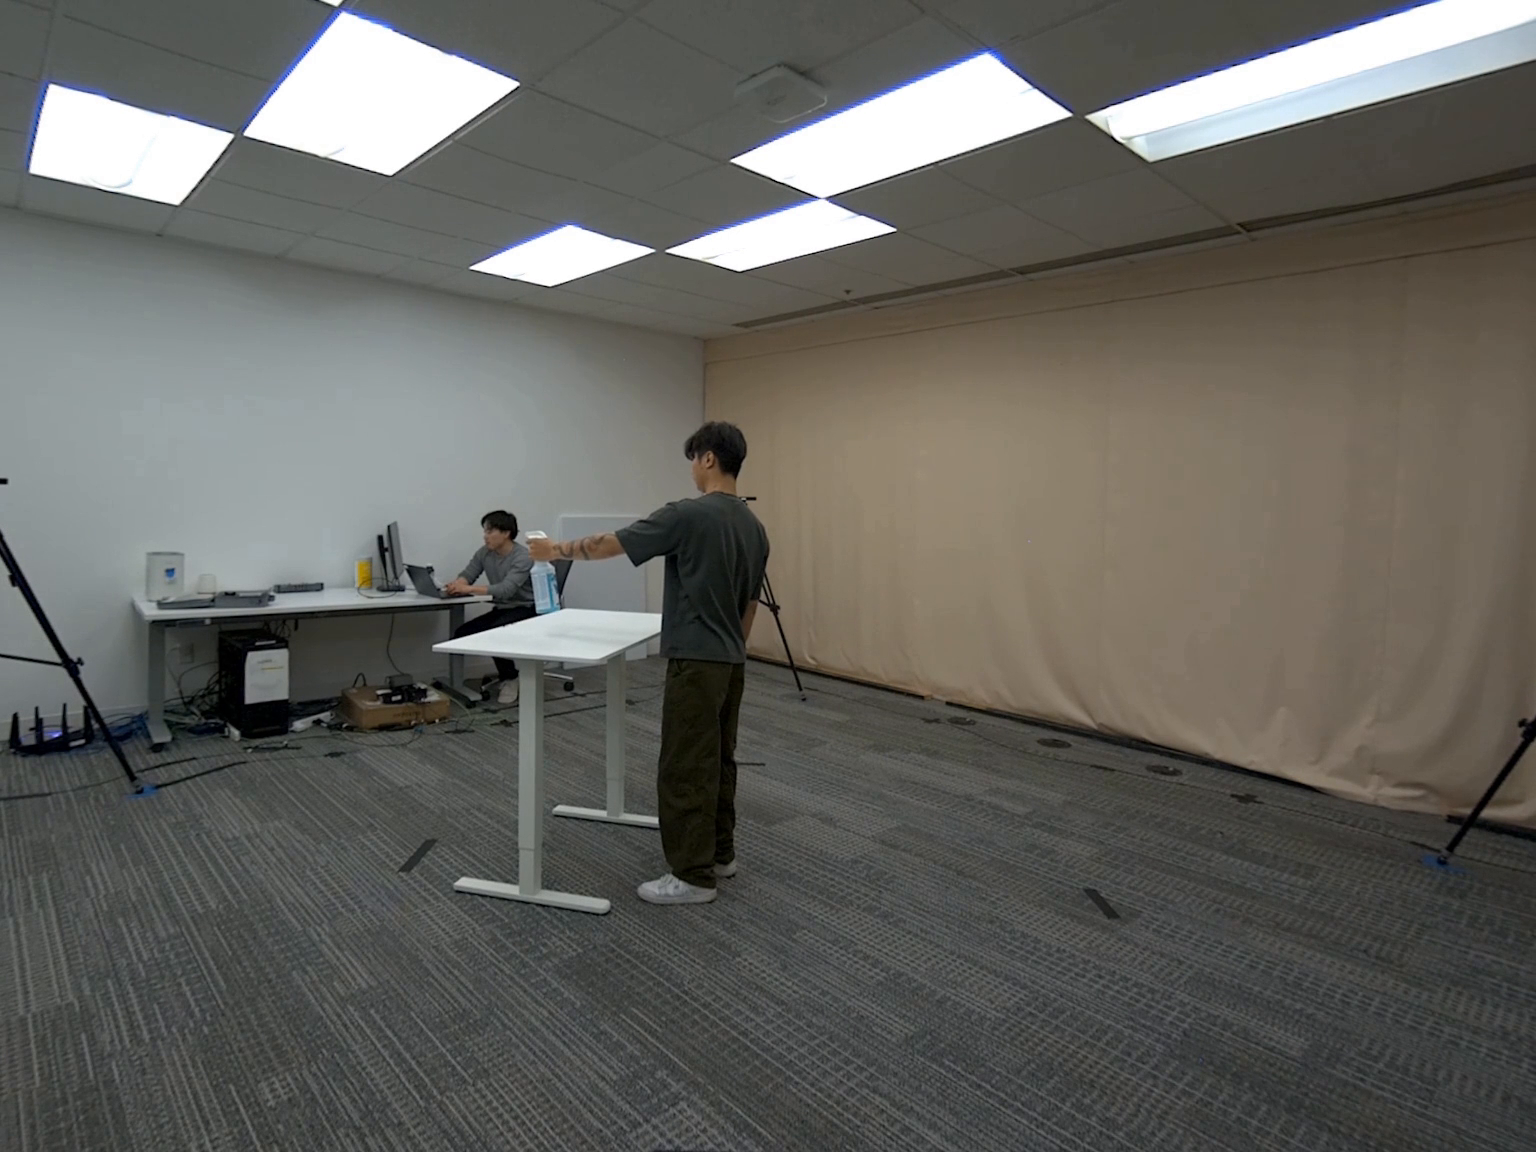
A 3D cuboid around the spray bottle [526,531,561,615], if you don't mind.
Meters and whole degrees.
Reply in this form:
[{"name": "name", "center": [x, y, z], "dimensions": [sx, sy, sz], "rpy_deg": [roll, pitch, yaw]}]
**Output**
[{"name": "spray bottle", "center": [-0.819, -0.014, 3.048], "dimensions": [0.085, 0.297, 0.092], "rpy_deg": [-8, 0, -39]}]
